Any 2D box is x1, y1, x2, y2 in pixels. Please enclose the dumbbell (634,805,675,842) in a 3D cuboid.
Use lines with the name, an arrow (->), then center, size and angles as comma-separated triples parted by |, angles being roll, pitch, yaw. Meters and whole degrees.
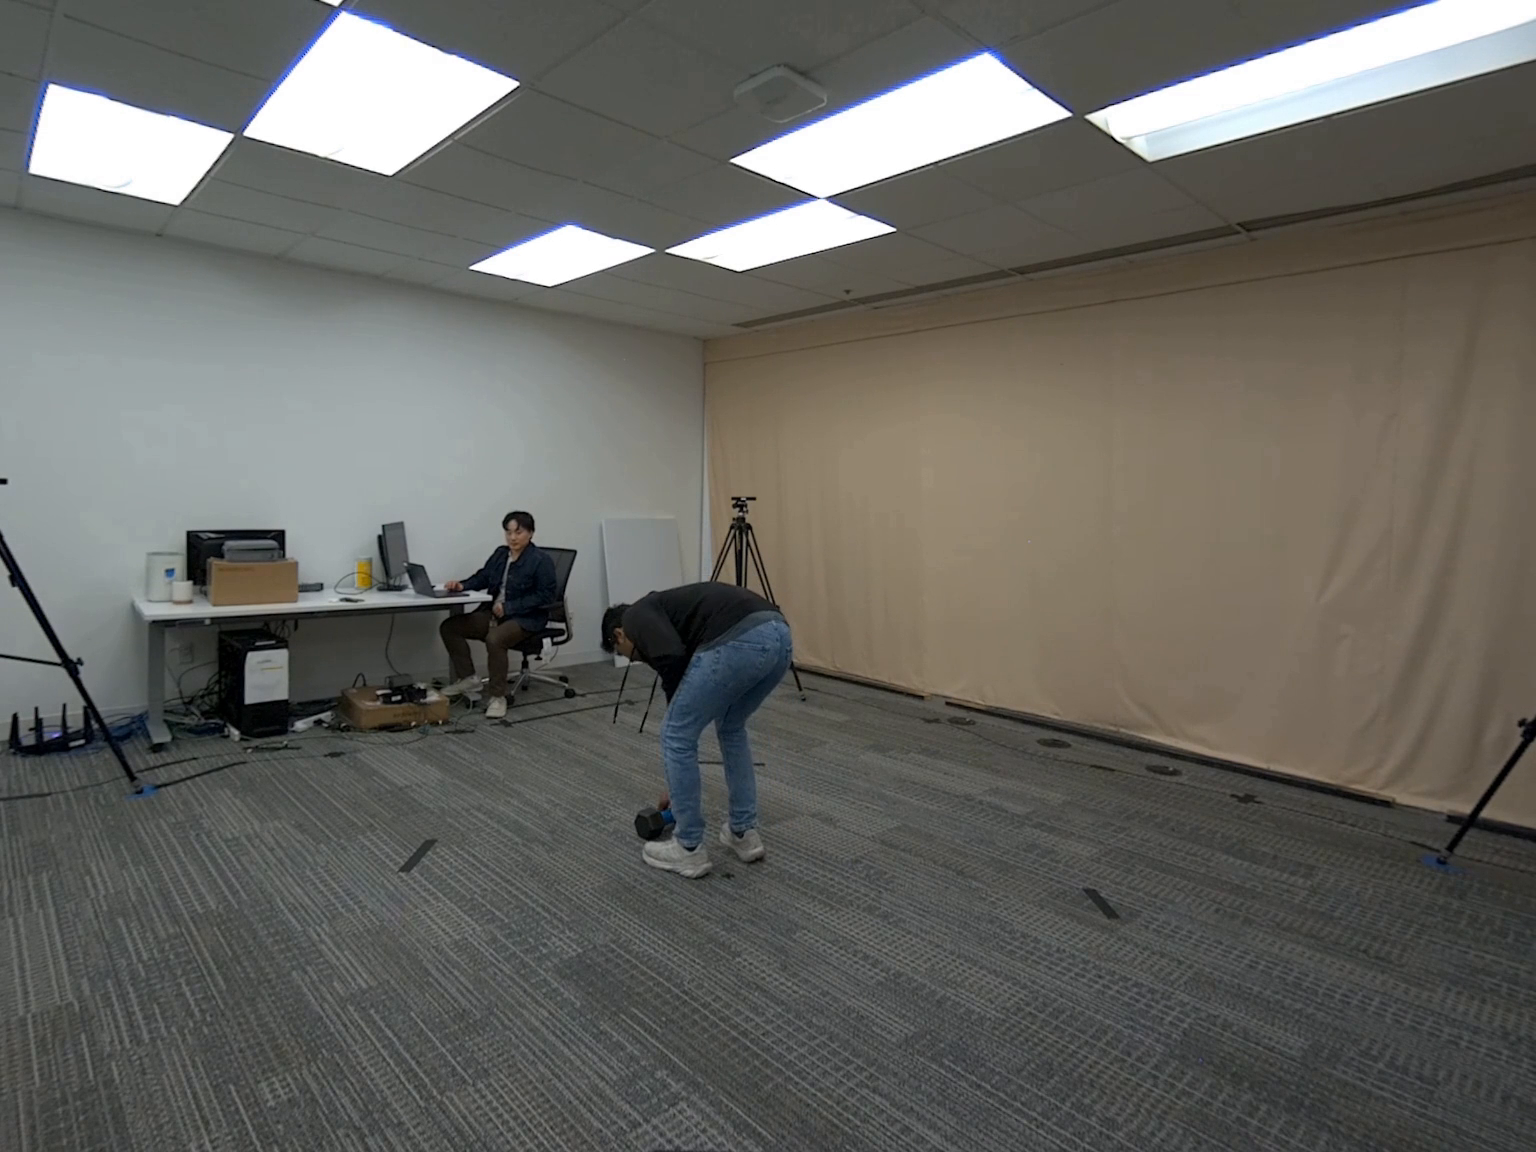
dumbbell -> -0.425, 1.009, 3.525 | 0.126, 0.108, 0.287 | 7, 7, 39
